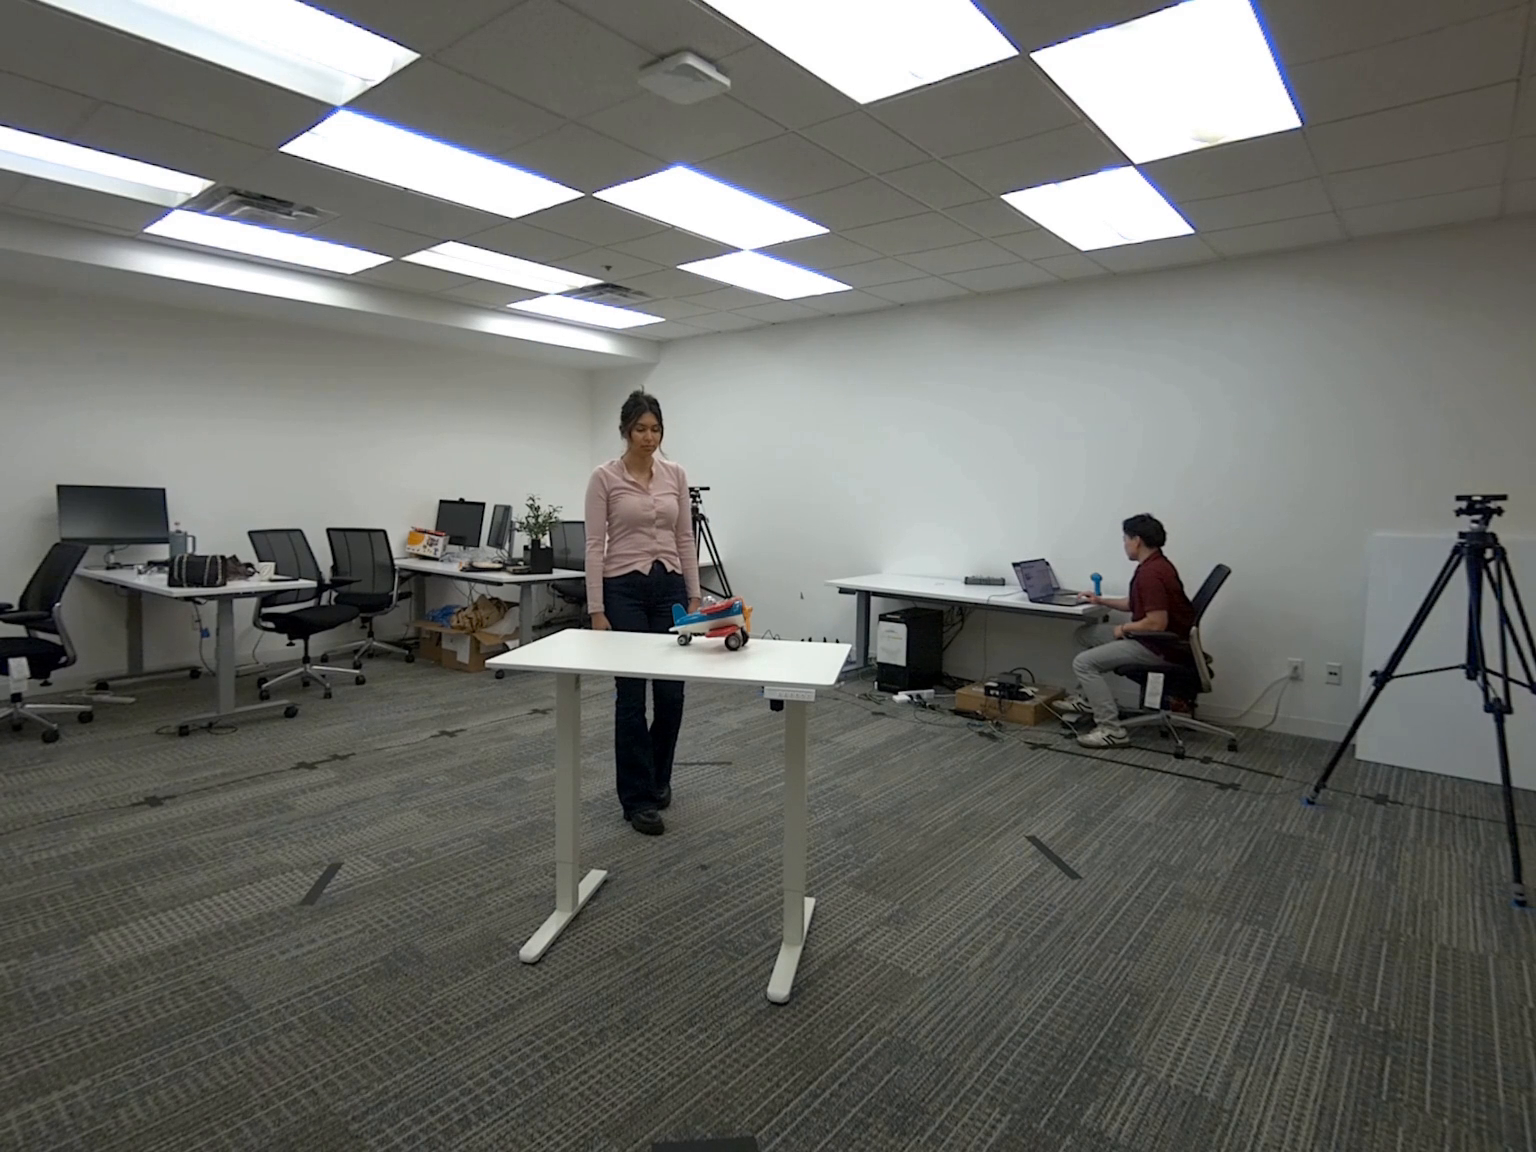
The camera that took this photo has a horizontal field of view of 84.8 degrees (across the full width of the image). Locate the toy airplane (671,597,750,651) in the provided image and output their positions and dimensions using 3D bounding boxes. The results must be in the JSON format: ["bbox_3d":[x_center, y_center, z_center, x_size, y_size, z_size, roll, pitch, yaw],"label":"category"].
[{"bbox_3d":[-0.189,0.150,2.701,0.255,0.156,0.256,0,4,-15],"label":"toy airplane"}]
